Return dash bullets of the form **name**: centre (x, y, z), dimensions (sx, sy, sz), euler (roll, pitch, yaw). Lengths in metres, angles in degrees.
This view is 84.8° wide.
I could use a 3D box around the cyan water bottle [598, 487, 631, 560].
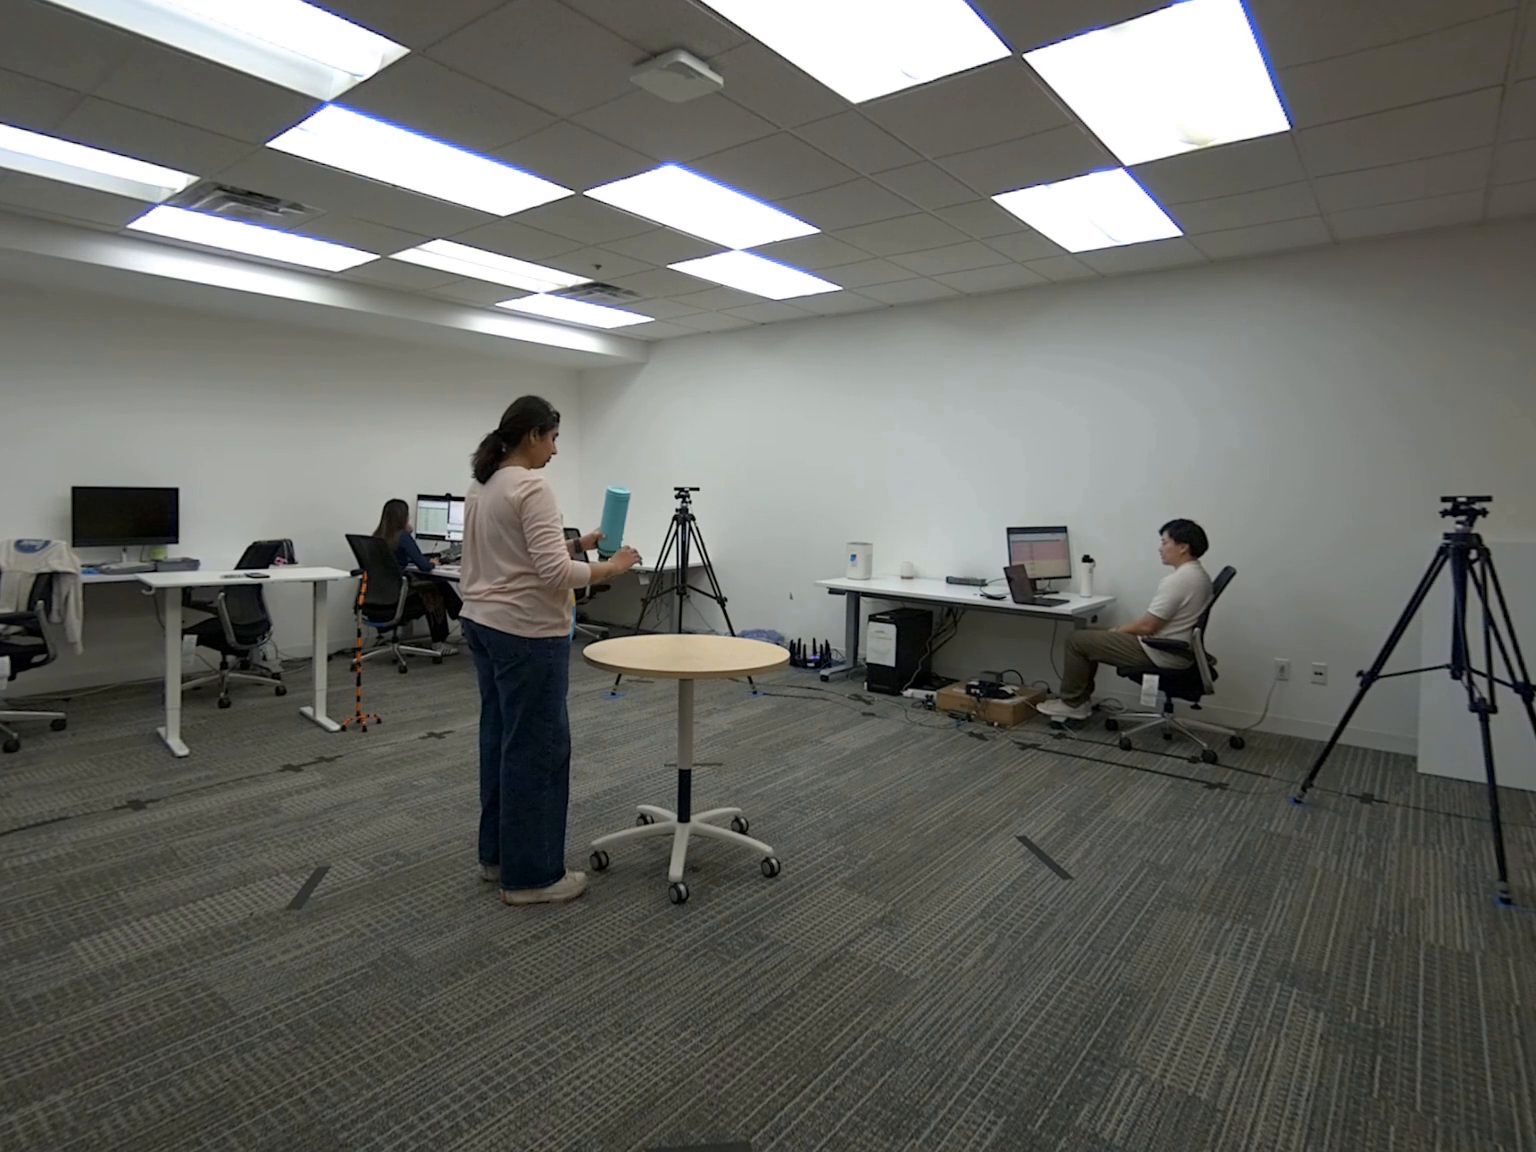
- **cyan water bottle**: centre (-0.596, -0.187, 3.152), dimensions (0.092, 0.280, 0.094), euler (10, 16, -5)
